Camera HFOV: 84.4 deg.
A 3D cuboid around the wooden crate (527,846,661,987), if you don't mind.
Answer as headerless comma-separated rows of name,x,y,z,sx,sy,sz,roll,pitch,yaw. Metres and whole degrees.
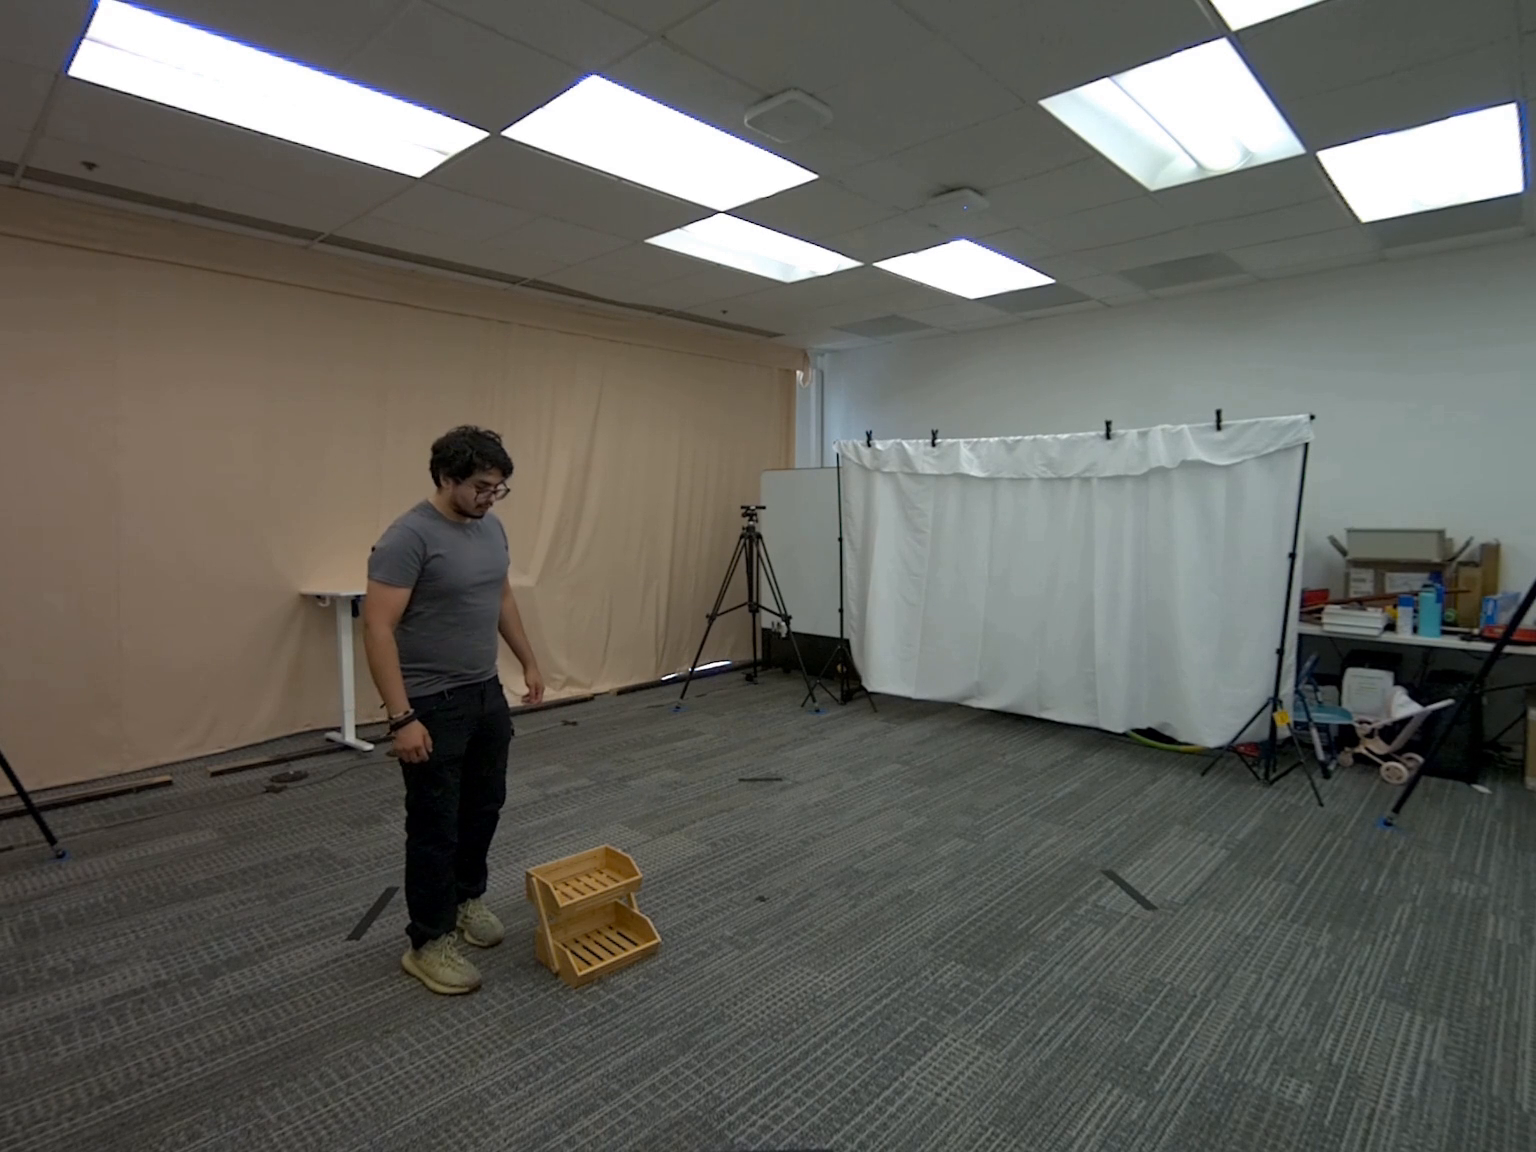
wooden crate,-0.545,1.048,2.616,0.314,0.273,0.312,-4,5,-43
